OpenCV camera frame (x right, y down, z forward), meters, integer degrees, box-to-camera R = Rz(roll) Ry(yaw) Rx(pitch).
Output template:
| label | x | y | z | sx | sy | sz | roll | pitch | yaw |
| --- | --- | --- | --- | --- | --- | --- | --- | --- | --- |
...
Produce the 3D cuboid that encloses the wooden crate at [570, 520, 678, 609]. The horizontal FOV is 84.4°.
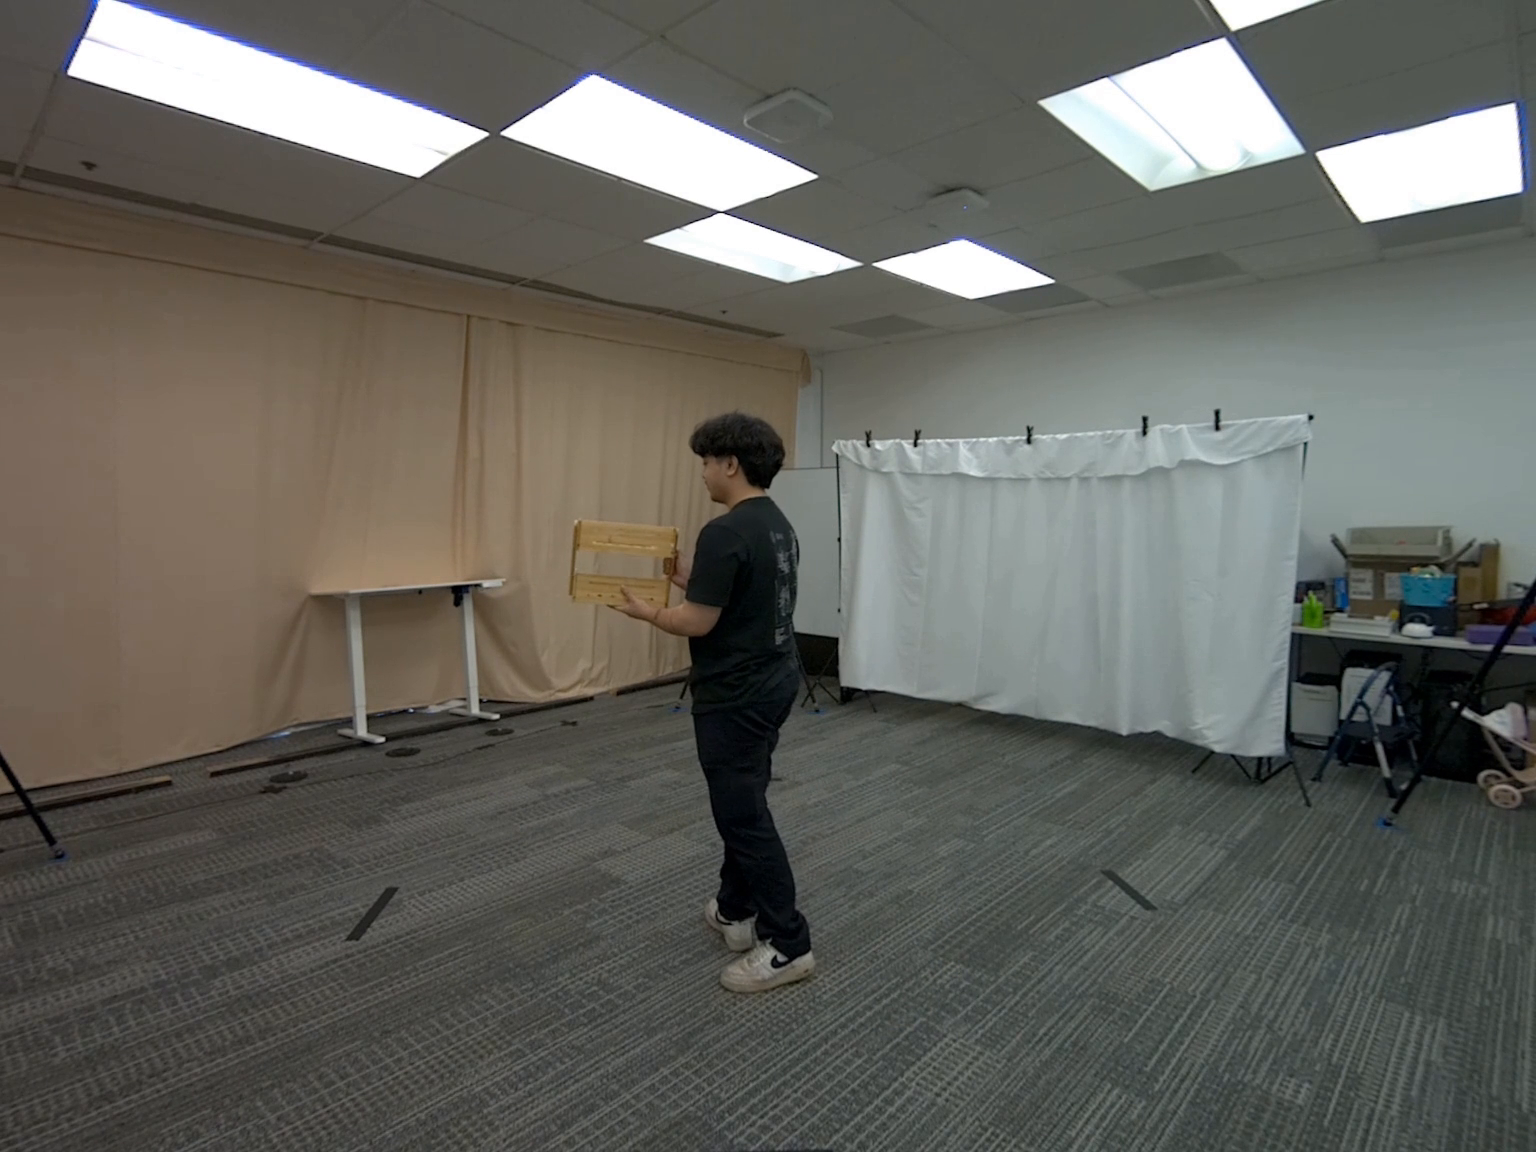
| label | x | y | z | sx | sy | sz | roll | pitch | yaw |
| --- | --- | --- | --- | --- | --- | --- | --- | --- | --- |
| wooden crate | -0.469 | -0.049 | 2.737 | 0.321 | 0.273 | 0.306 | 4 | 4 | -11 |
